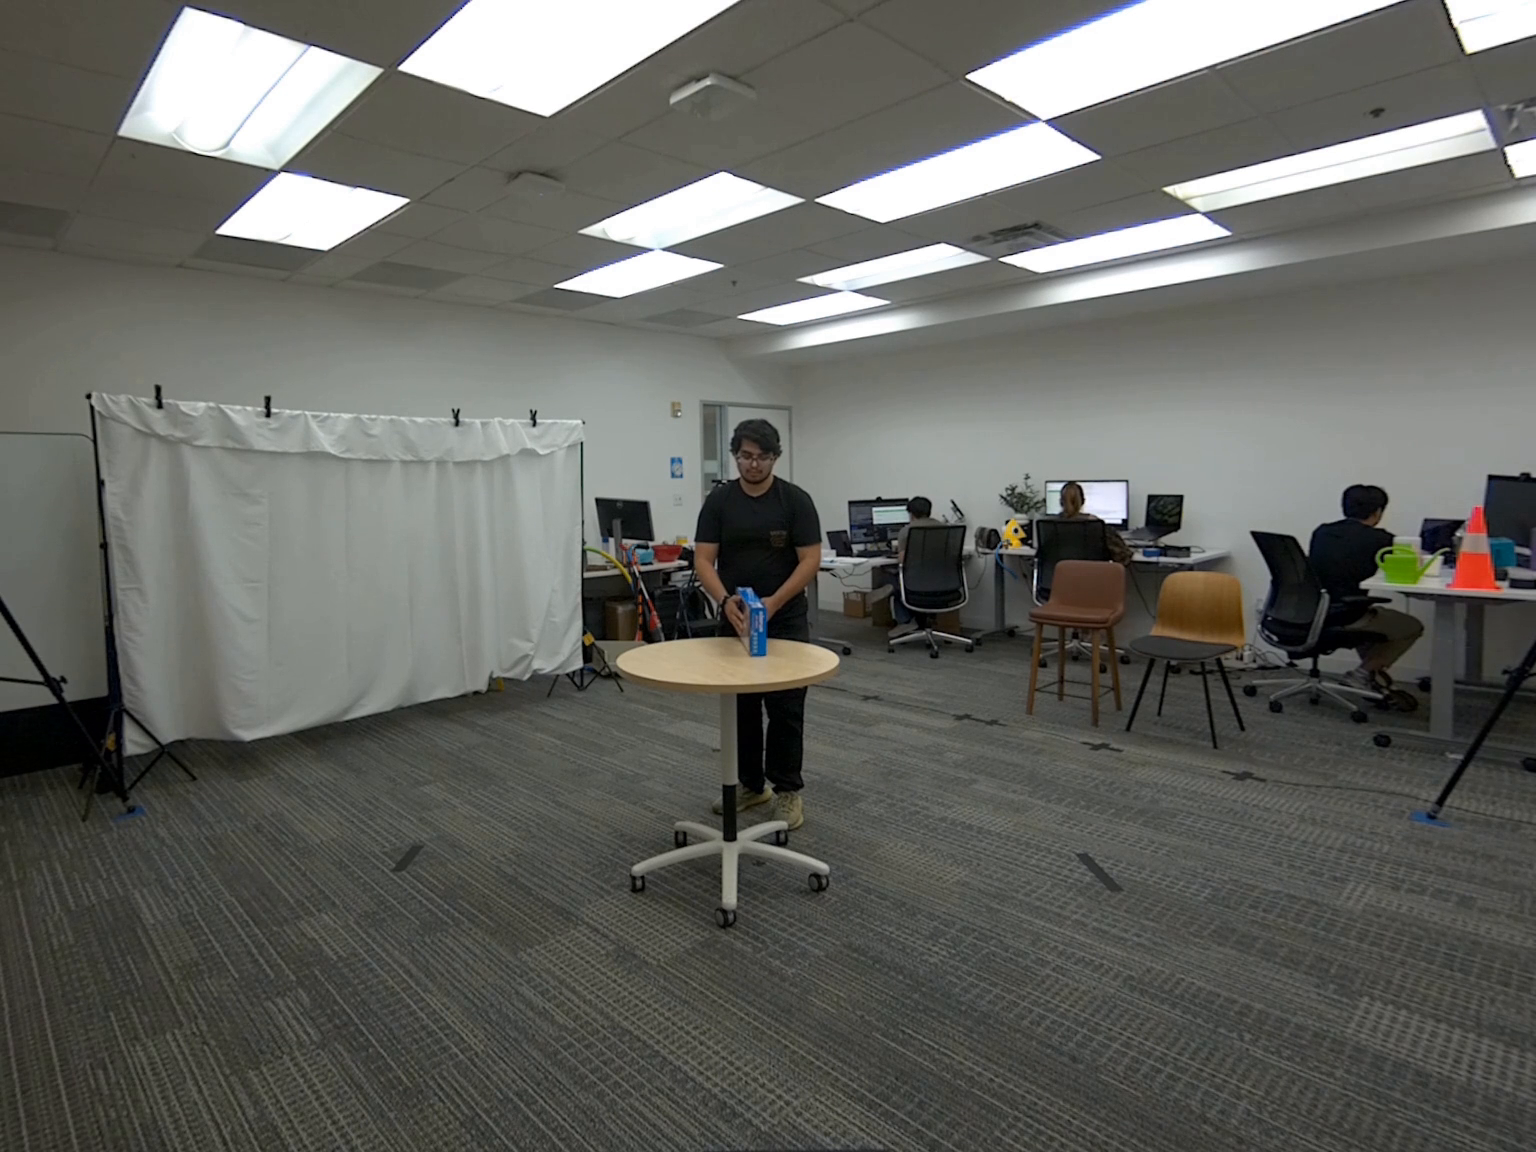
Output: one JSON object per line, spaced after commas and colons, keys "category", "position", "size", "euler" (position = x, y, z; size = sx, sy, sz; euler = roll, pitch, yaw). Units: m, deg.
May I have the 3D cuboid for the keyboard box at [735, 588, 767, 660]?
{"category": "keyboard box", "position": [-0.074, 0.165, 3.176], "size": [0.058, 0.175, 0.443], "euler": [1, 9, -9]}
